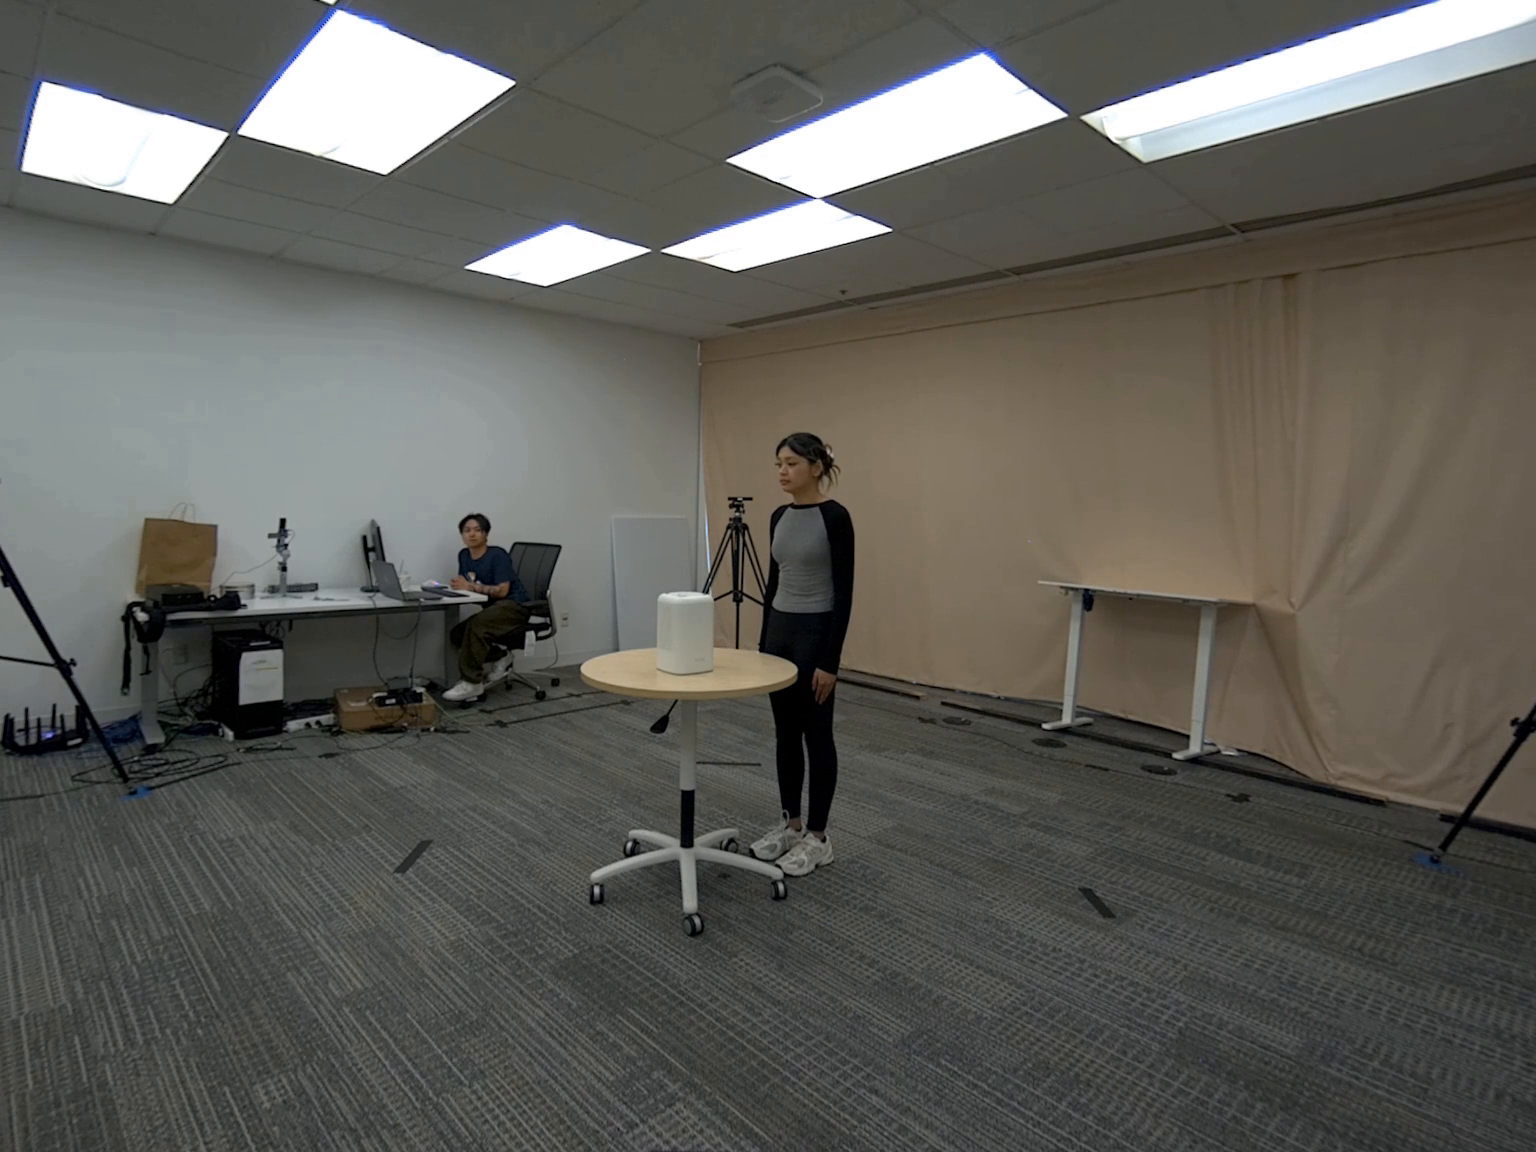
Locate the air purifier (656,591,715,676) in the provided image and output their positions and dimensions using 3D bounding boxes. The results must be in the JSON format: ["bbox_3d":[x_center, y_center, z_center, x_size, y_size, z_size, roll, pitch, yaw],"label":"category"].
[{"bbox_3d":[-0.292,0.194,2.928,0.167,0.265,0.176,-3,5,-39],"label":"air purifier"}]
